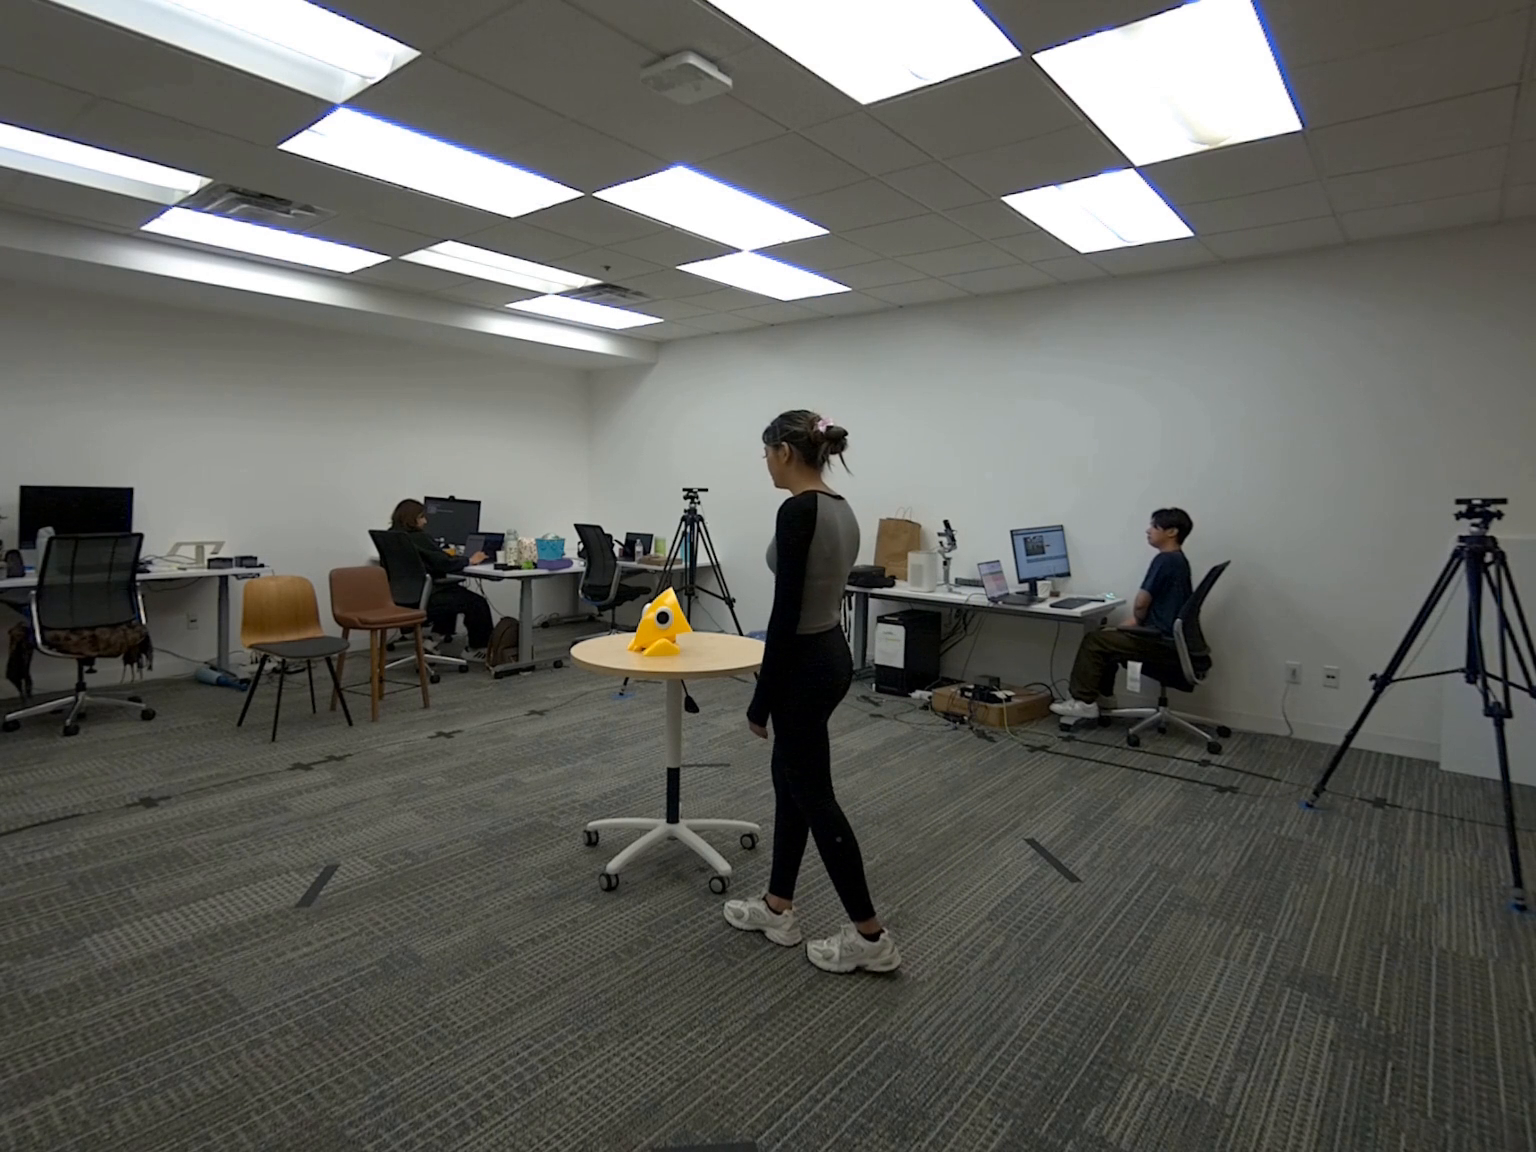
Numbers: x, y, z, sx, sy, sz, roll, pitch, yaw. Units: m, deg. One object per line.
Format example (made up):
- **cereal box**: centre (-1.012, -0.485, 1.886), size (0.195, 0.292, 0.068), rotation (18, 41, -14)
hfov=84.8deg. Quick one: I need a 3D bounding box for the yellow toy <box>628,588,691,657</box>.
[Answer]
- **yellow toy**: centre (-0.420, 0.159, 3.121), size (0.188, 0.230, 0.211), rotation (-4, 6, -35)
